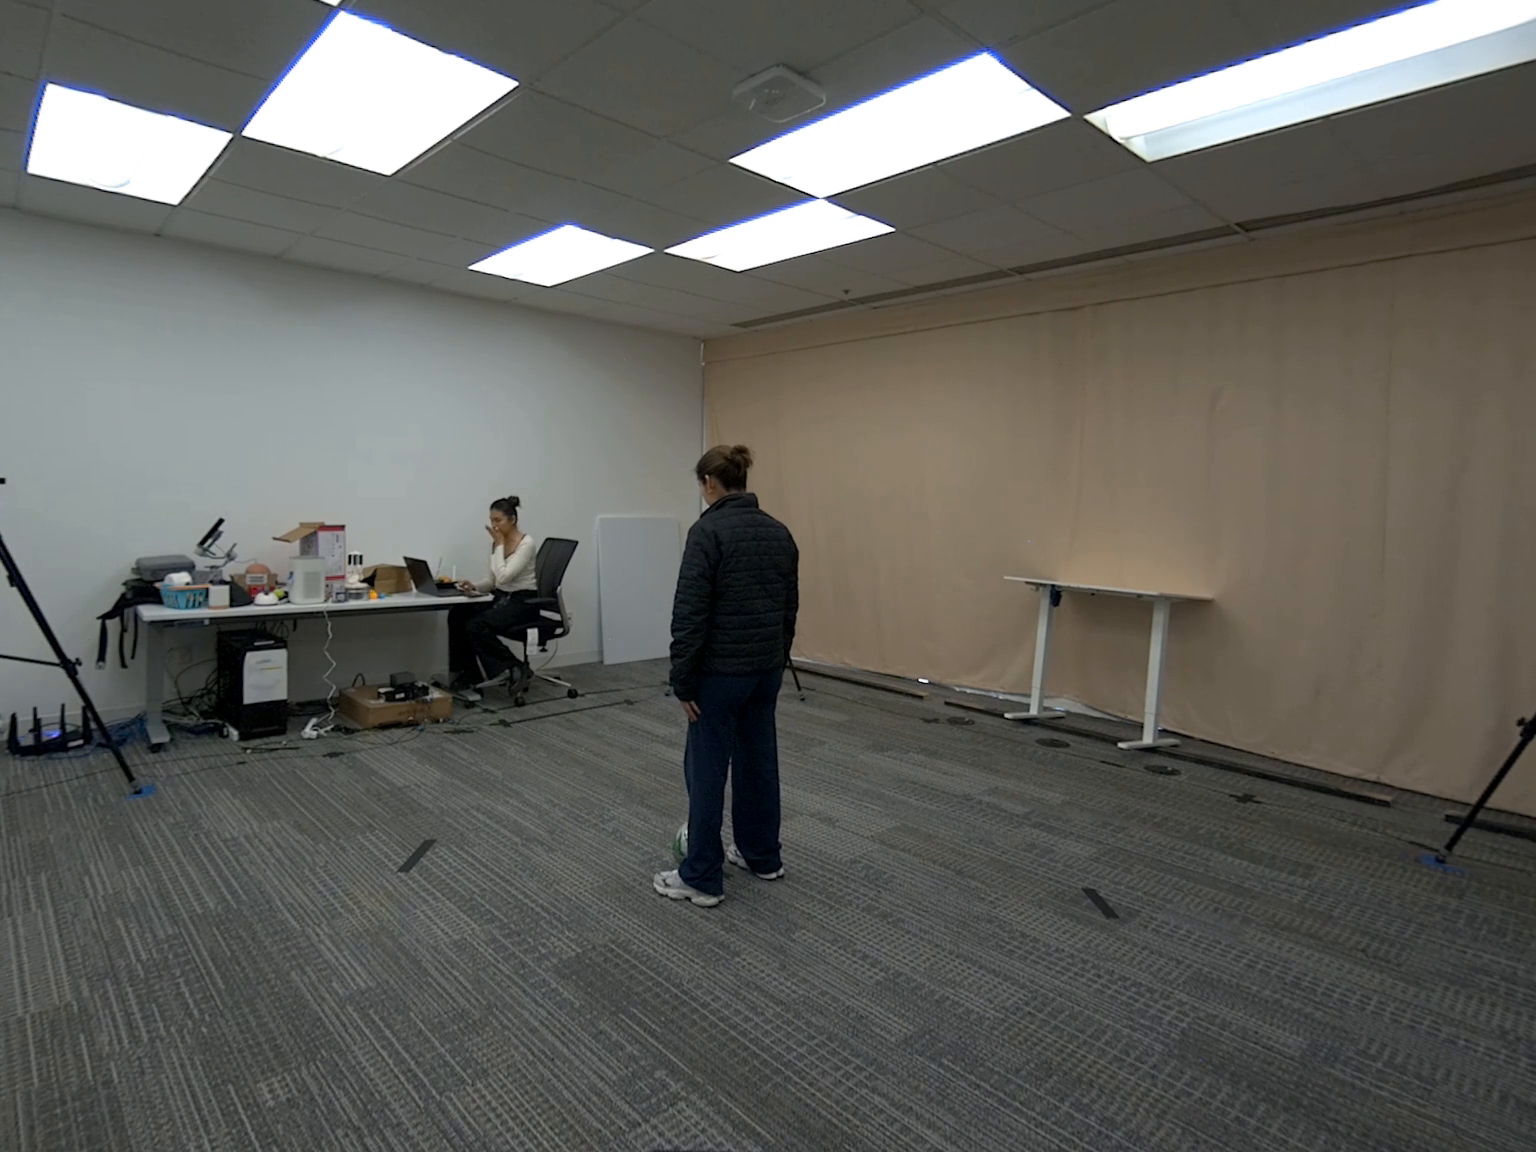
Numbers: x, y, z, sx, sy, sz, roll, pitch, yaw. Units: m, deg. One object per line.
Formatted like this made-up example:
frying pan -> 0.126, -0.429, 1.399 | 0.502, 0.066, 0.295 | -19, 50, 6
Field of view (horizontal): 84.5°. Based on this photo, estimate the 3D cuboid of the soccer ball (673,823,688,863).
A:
soccer ball -> -0.258, 1.006, 3.140 | 0.187, 0.187, 0.188 | 1, 4, -1
